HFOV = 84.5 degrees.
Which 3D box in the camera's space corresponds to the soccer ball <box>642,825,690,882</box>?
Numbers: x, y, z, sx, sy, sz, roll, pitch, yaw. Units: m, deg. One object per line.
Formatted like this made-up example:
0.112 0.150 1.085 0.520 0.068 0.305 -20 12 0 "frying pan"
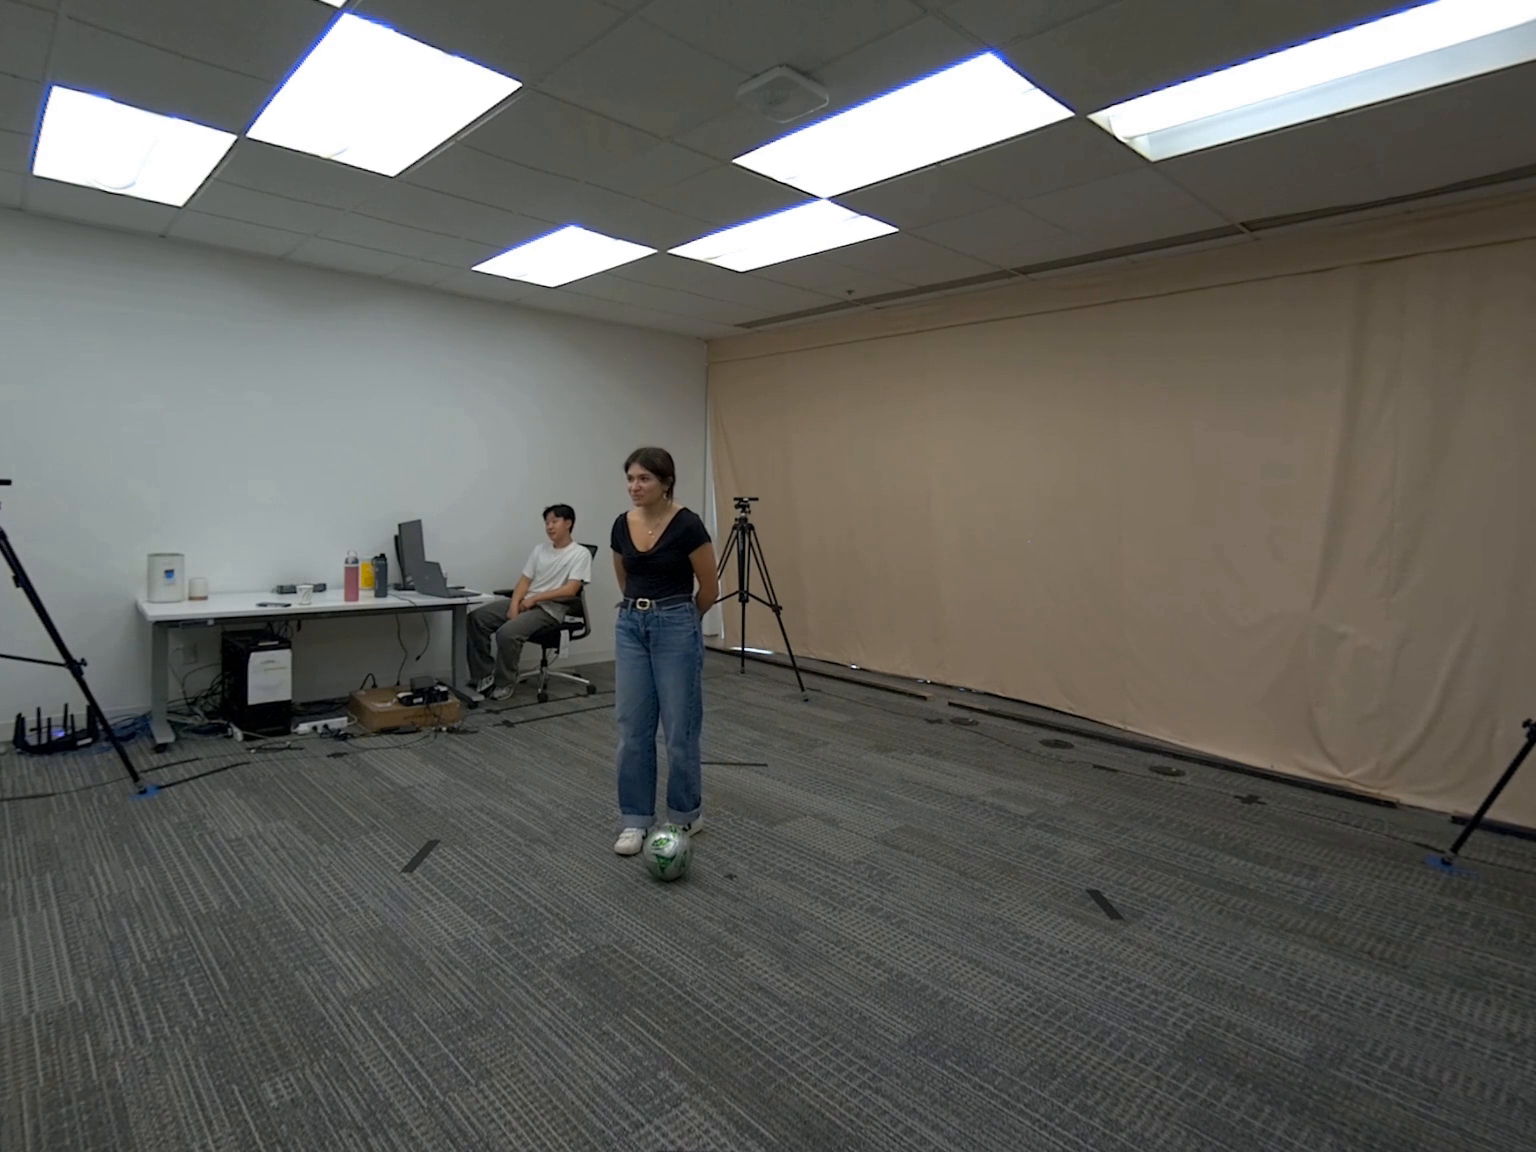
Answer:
-0.375 1.015 3.068 0.187 0.187 0.188 1 4 -1 "soccer ball"
